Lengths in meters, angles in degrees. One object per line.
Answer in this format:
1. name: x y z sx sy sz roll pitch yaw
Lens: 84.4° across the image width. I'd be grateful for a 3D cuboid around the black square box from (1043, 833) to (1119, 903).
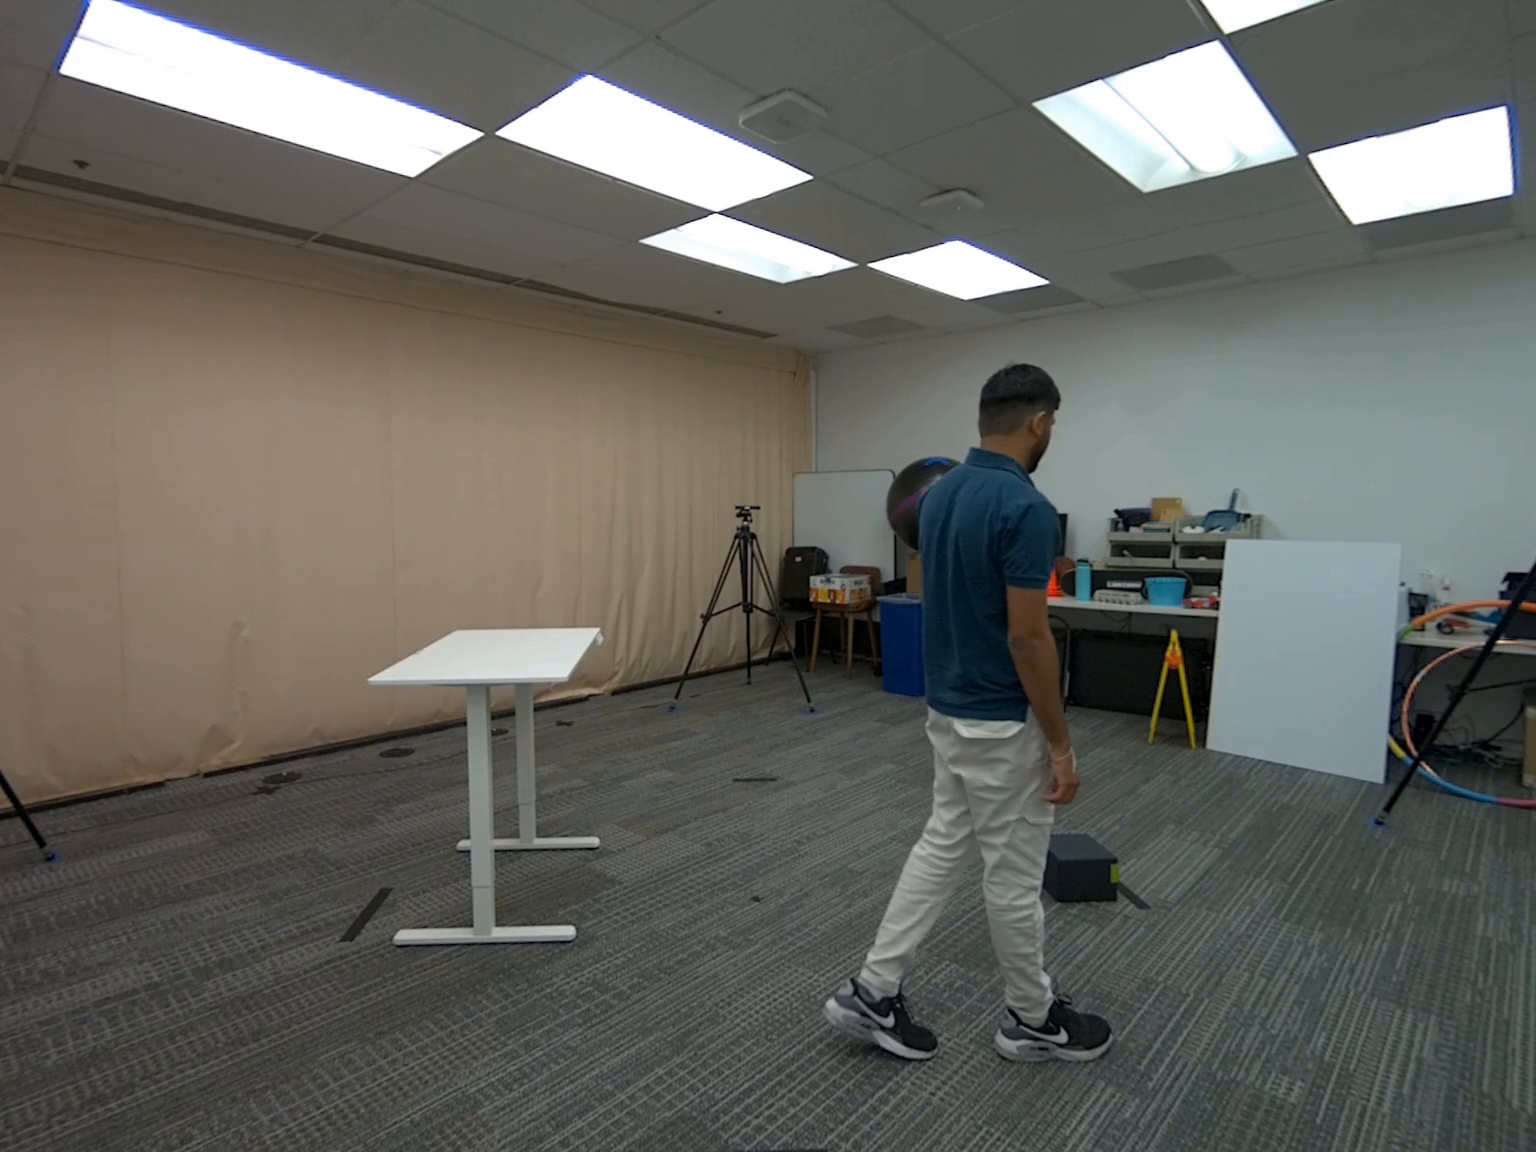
1. black square box: 1.117 1.054 3.059 0.216 0.155 0.229 -1 4 -4
